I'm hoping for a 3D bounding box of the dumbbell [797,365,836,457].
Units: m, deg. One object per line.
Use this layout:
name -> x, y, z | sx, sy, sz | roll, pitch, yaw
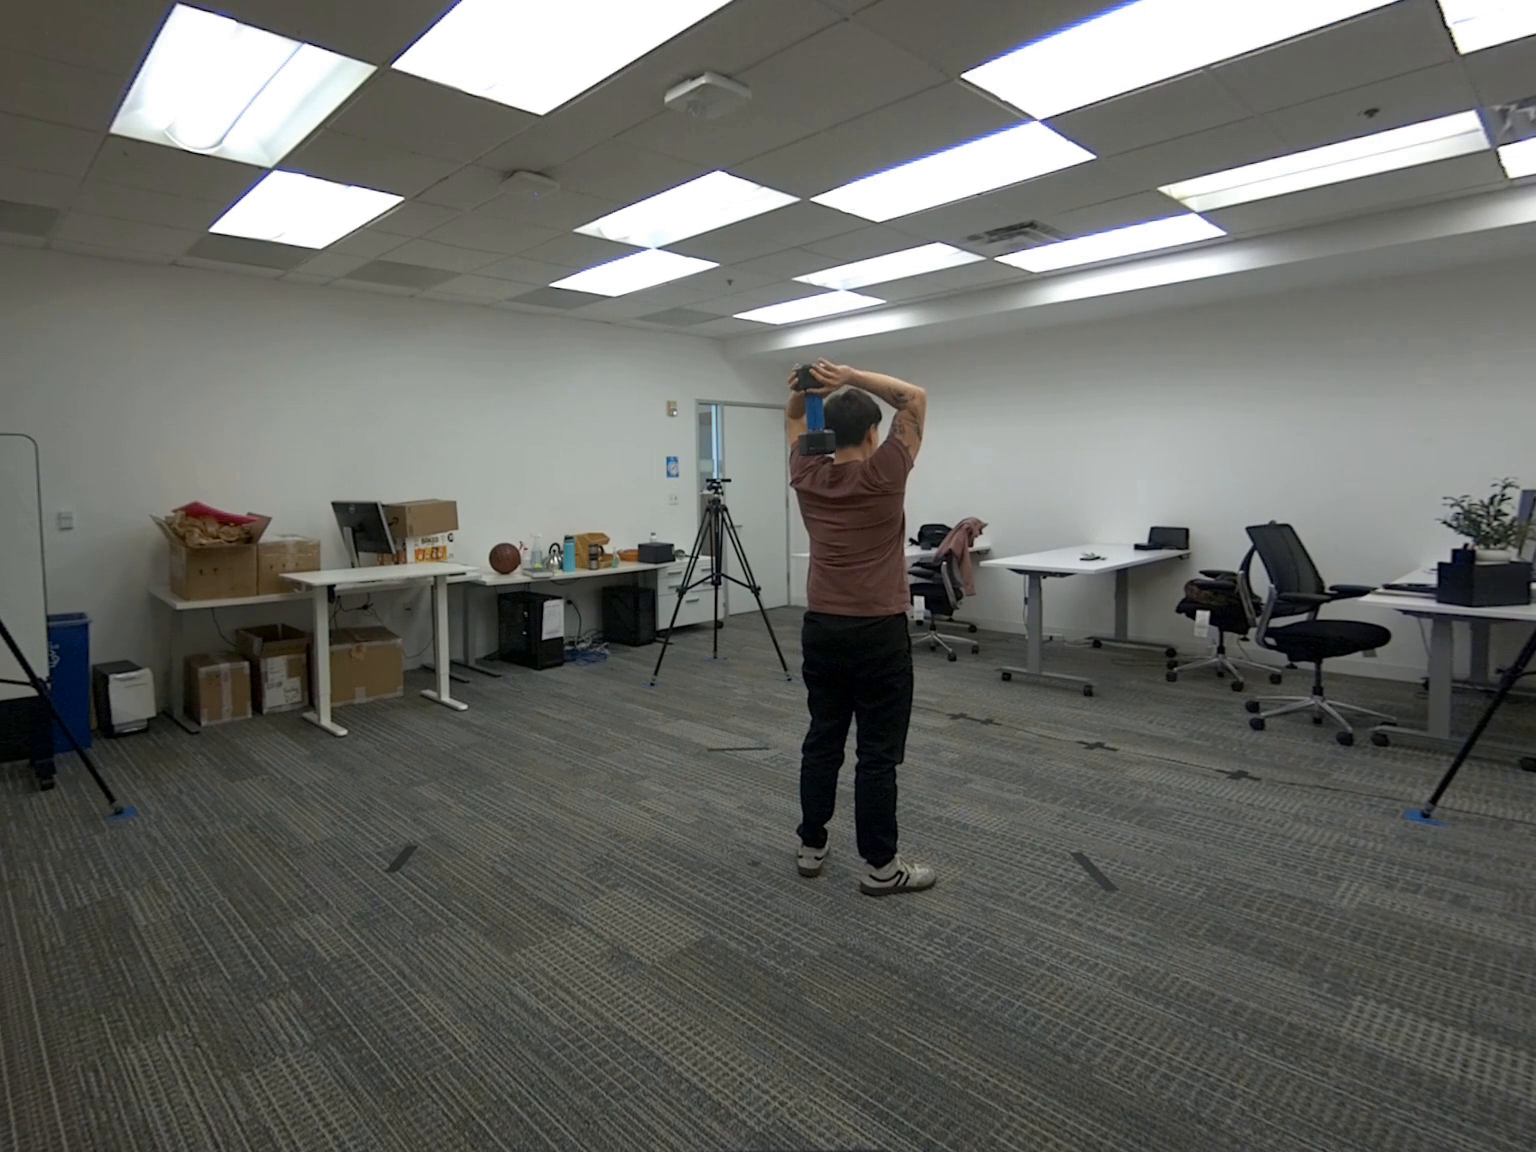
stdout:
dumbbell -> 0.157, -0.543, 2.792 | 0.112, 0.293, 0.120 | 0, 4, 42
